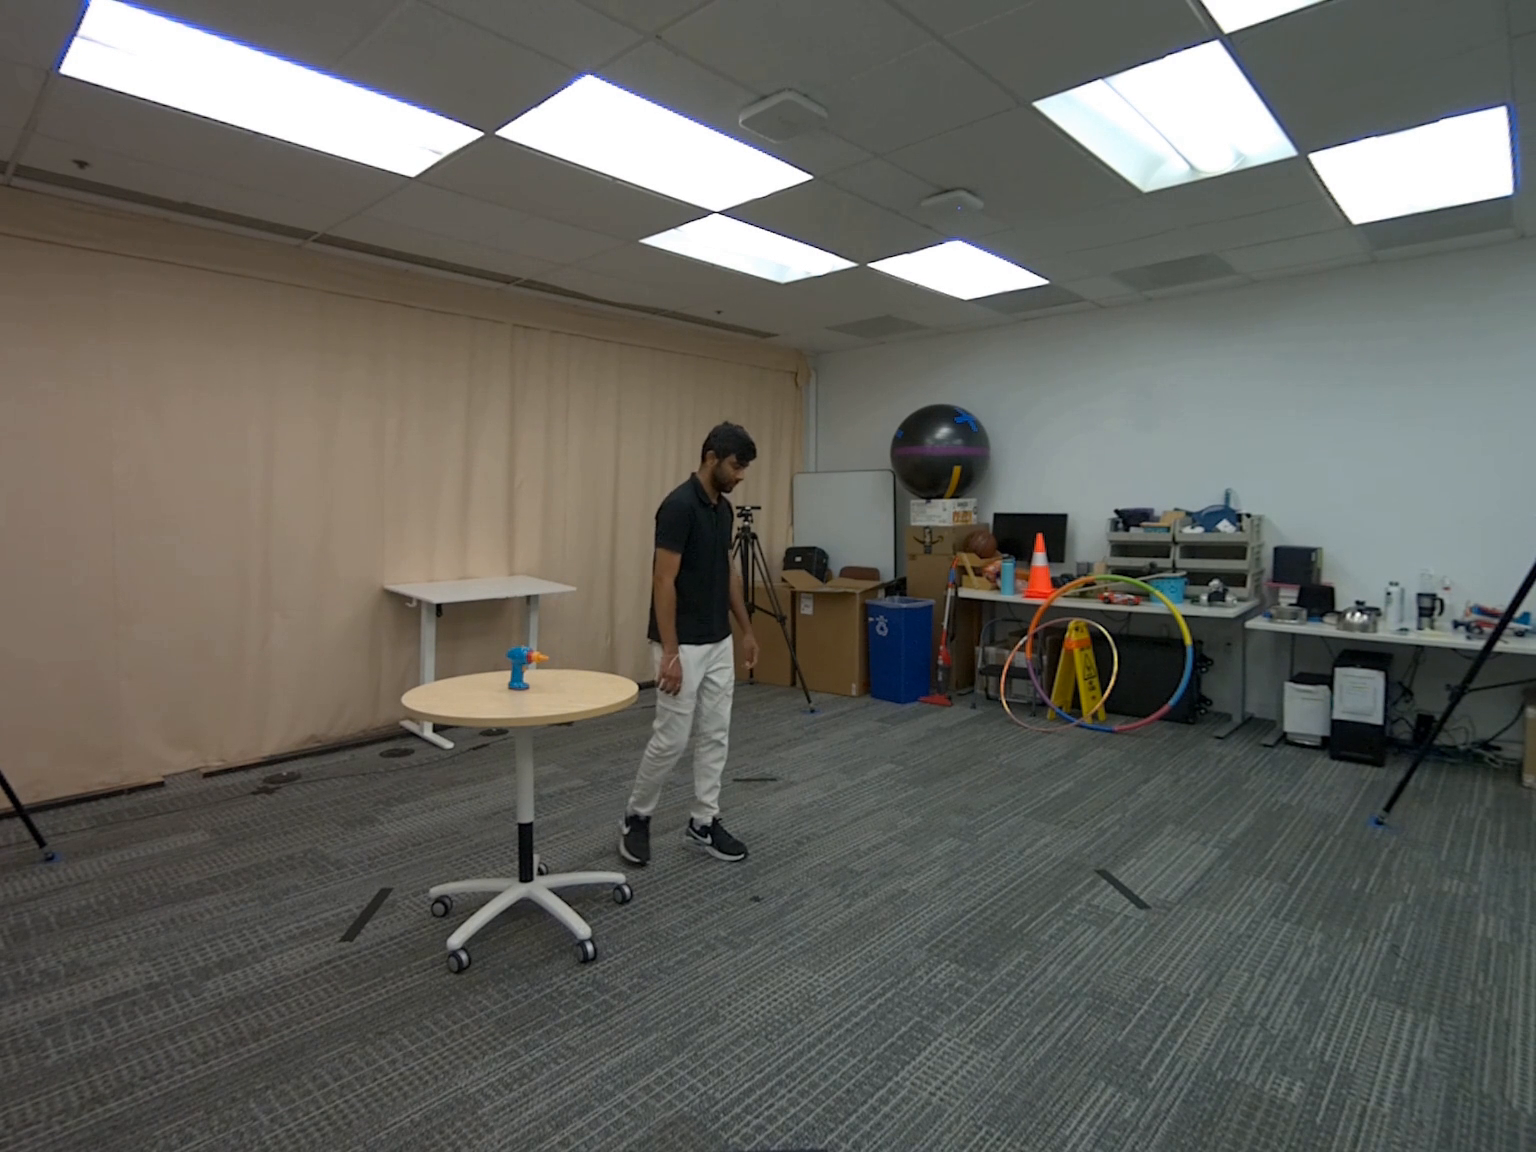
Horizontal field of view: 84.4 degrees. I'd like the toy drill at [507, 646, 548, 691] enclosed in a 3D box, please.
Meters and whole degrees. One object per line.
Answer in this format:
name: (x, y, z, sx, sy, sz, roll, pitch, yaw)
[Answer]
toy drill: (-0.802, 0.308, 2.812, 0.173, 0.146, 0.060, 2, 2, 19)
